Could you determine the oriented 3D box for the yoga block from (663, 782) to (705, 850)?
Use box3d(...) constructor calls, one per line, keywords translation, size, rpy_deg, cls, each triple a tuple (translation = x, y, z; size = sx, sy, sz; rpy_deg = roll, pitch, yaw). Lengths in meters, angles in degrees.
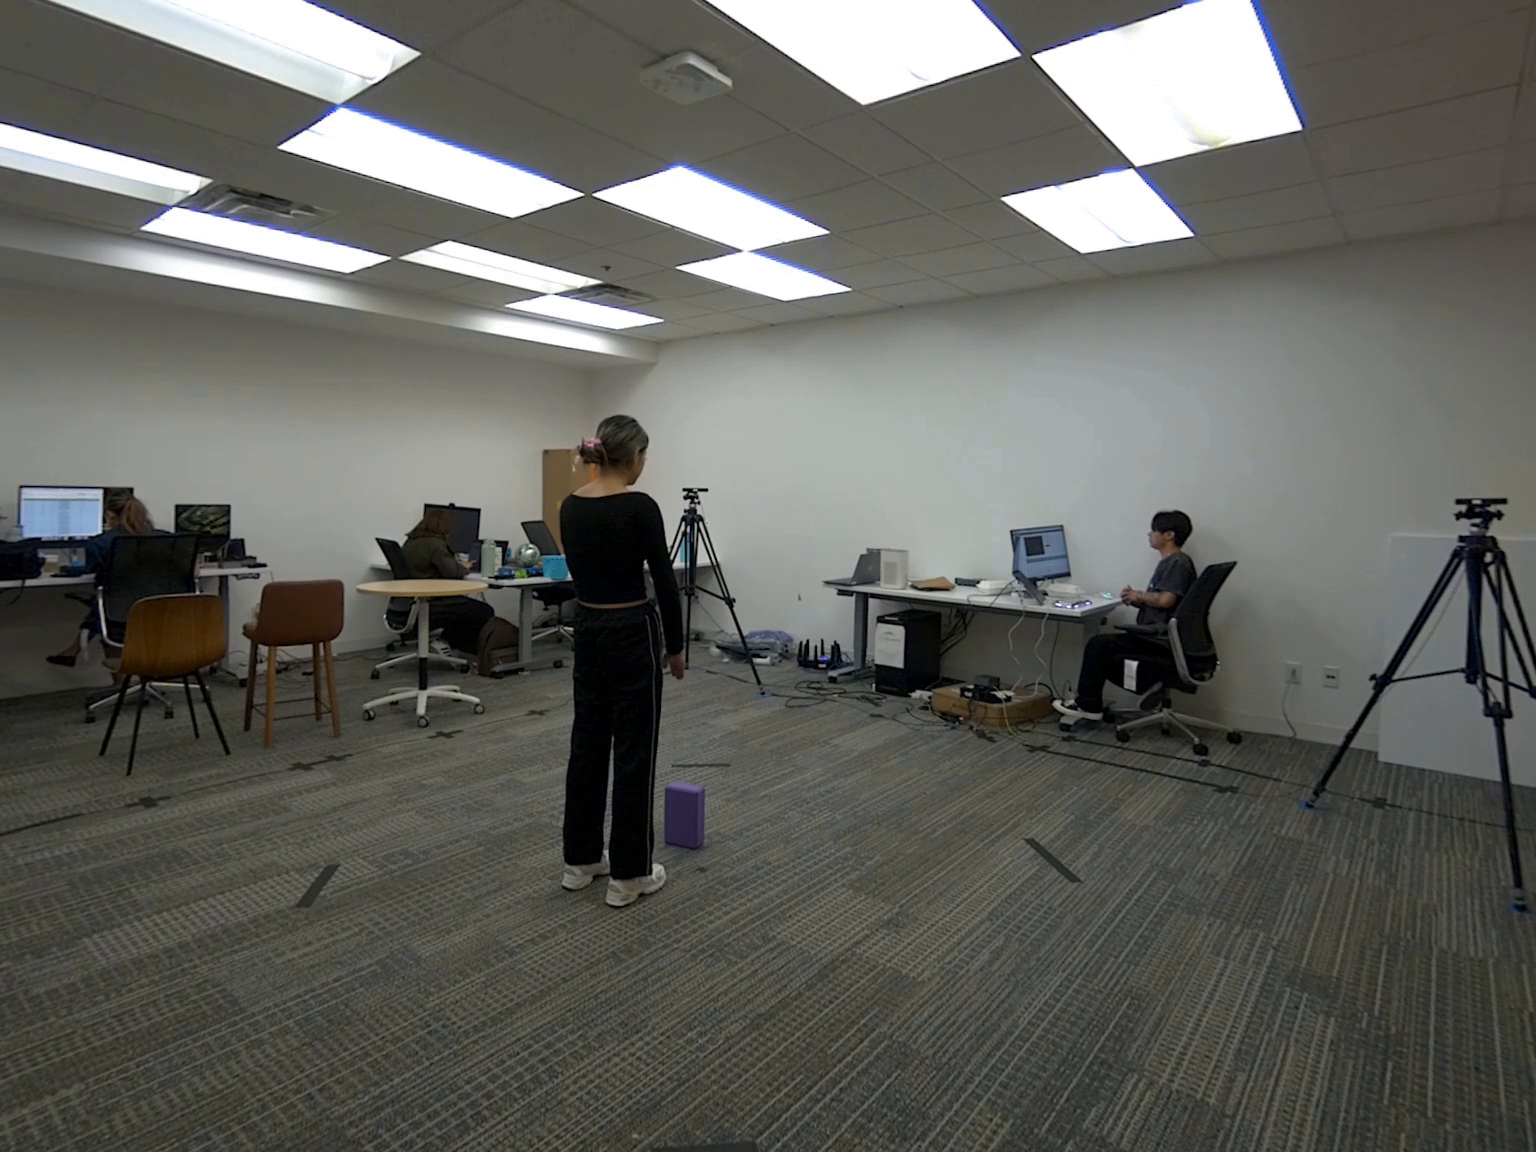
box3d(translation=(-0.339, 0.931, 3.332), size=(0.152, 0.229, 0.075), rpy_deg=(2, 2, 24), cls="yoga block")
